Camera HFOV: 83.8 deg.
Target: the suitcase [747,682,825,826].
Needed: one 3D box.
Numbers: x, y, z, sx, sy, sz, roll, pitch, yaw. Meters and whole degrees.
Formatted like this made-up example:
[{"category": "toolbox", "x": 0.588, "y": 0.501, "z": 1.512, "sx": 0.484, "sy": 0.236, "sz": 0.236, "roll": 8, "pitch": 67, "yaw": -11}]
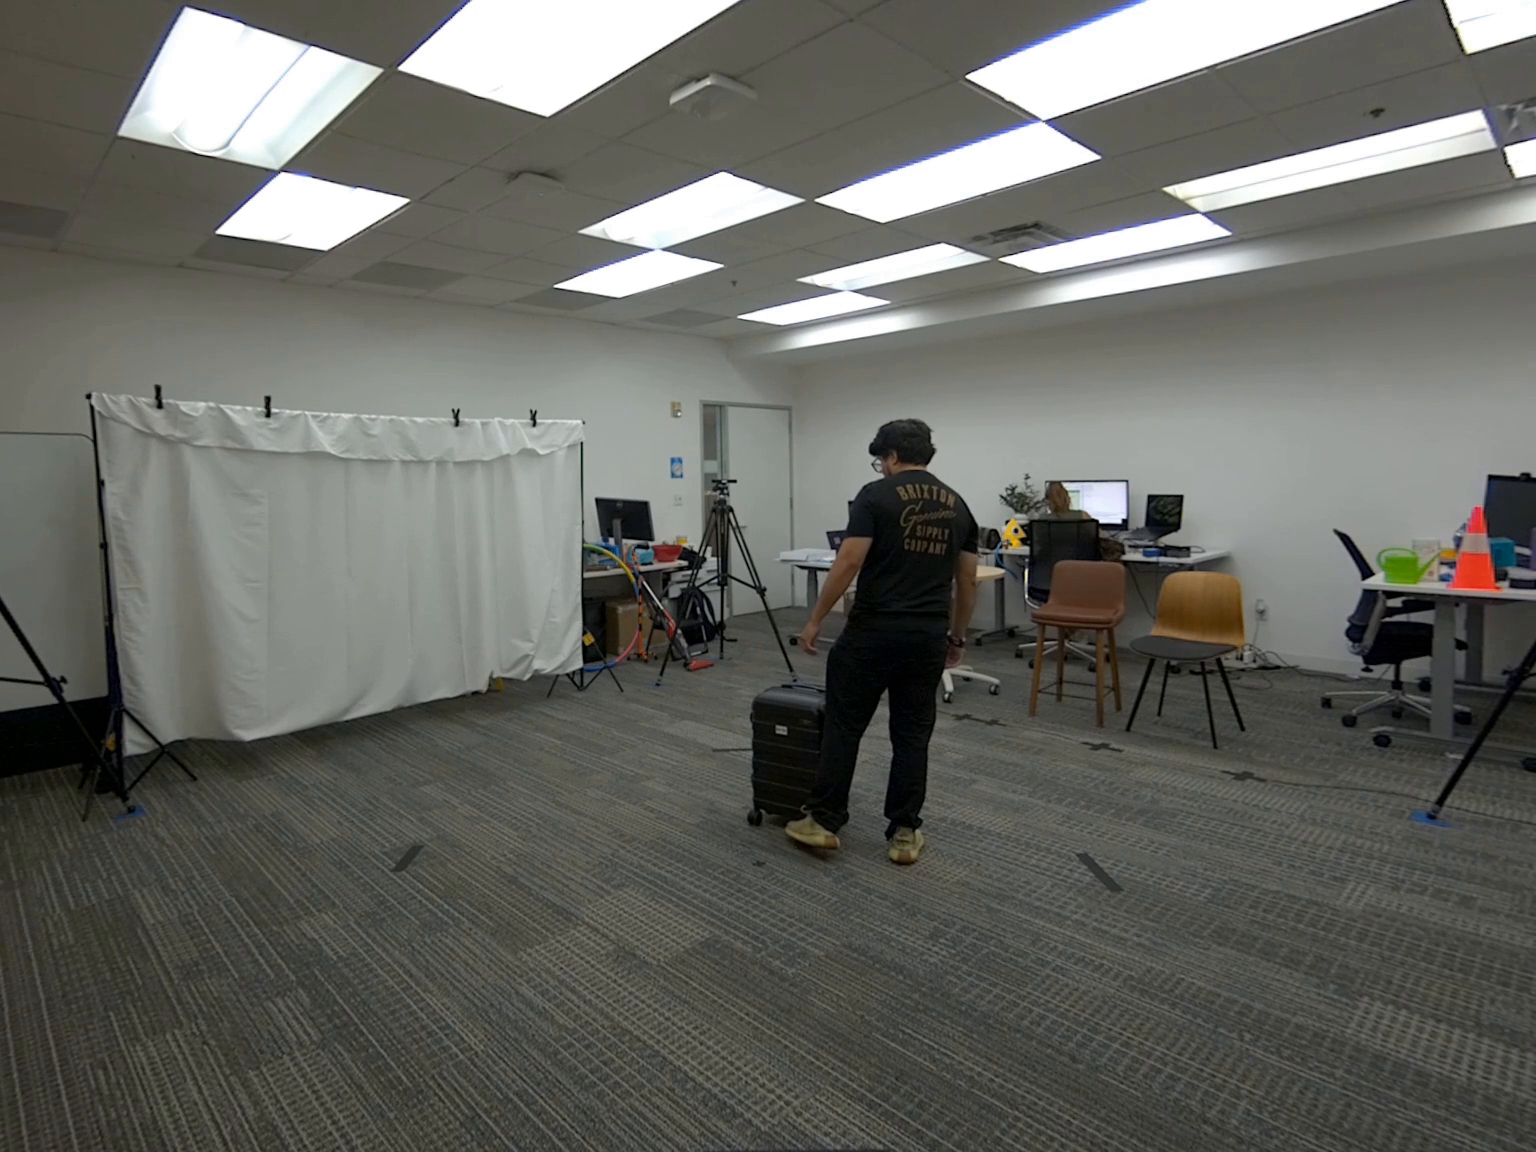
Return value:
[{"category": "suitcase", "x": 0.132, "y": 0.726, "z": 3.469, "sx": 0.386, "sy": 0.547, "sz": 0.242, "roll": 3, "pitch": 5, "yaw": 34}]
